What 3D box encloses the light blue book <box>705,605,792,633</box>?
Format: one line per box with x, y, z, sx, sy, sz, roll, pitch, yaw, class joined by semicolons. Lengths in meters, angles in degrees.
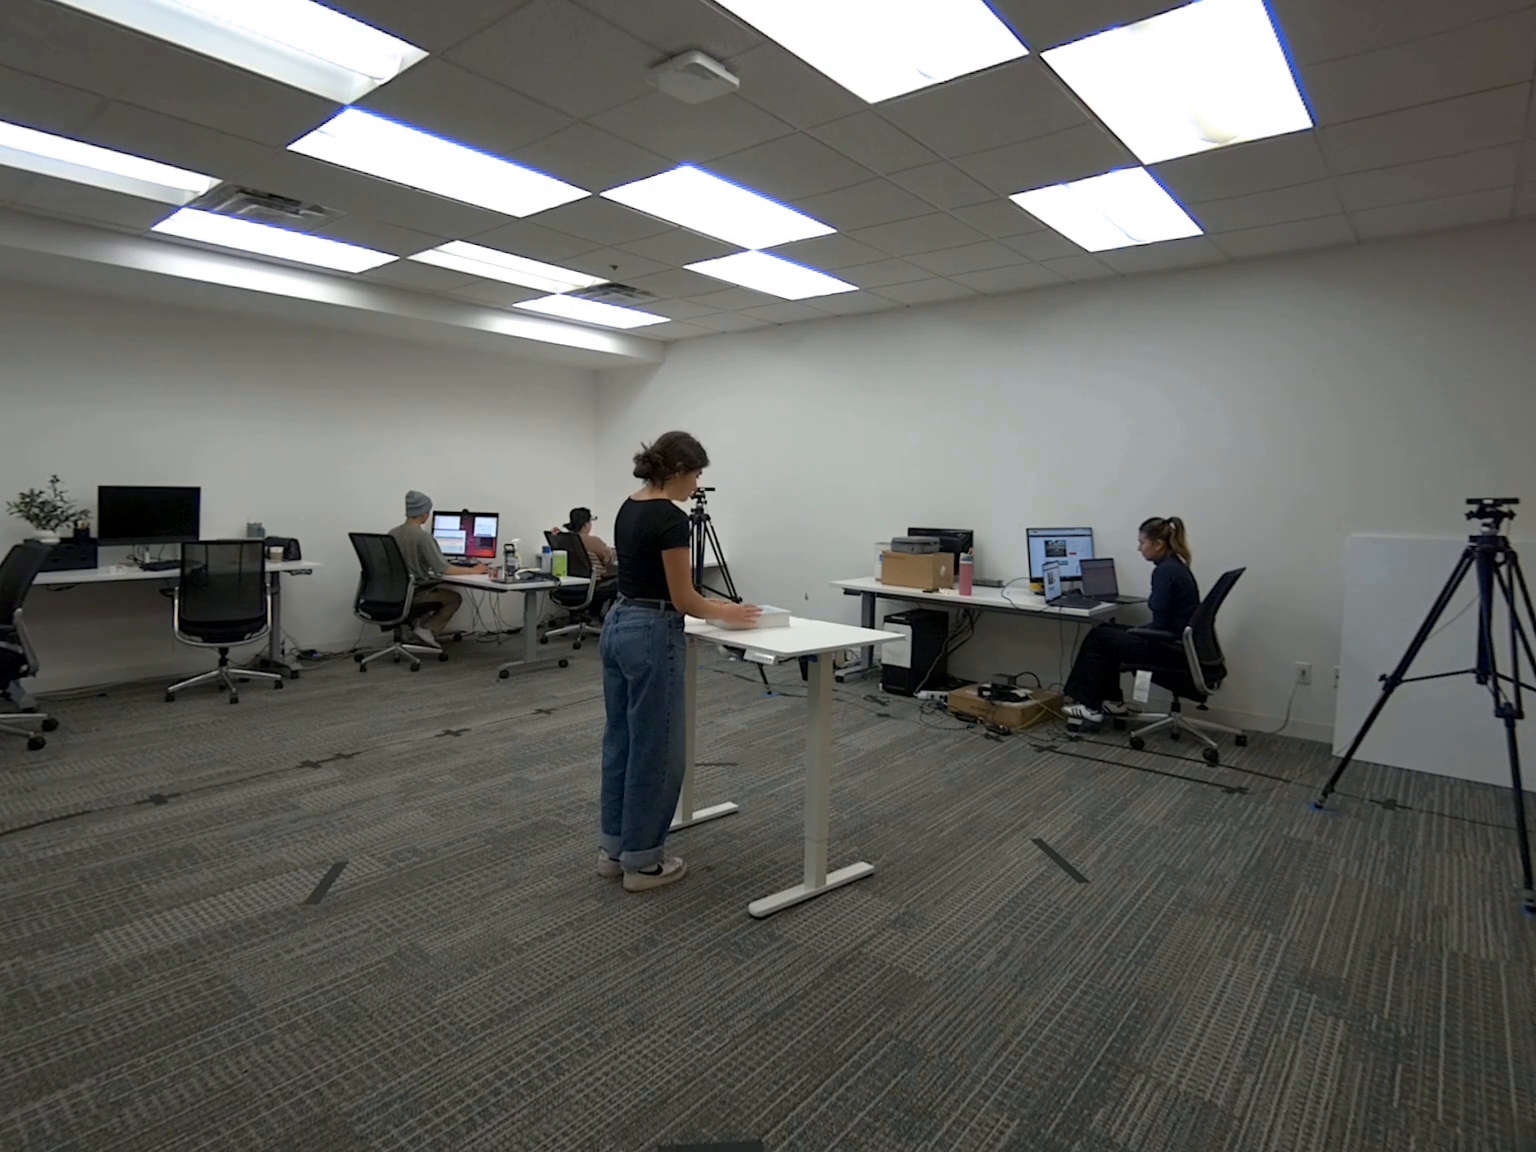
-0.077;0.157;3.164;0.254;0.059;0.197;-3;6;-29;light blue book
